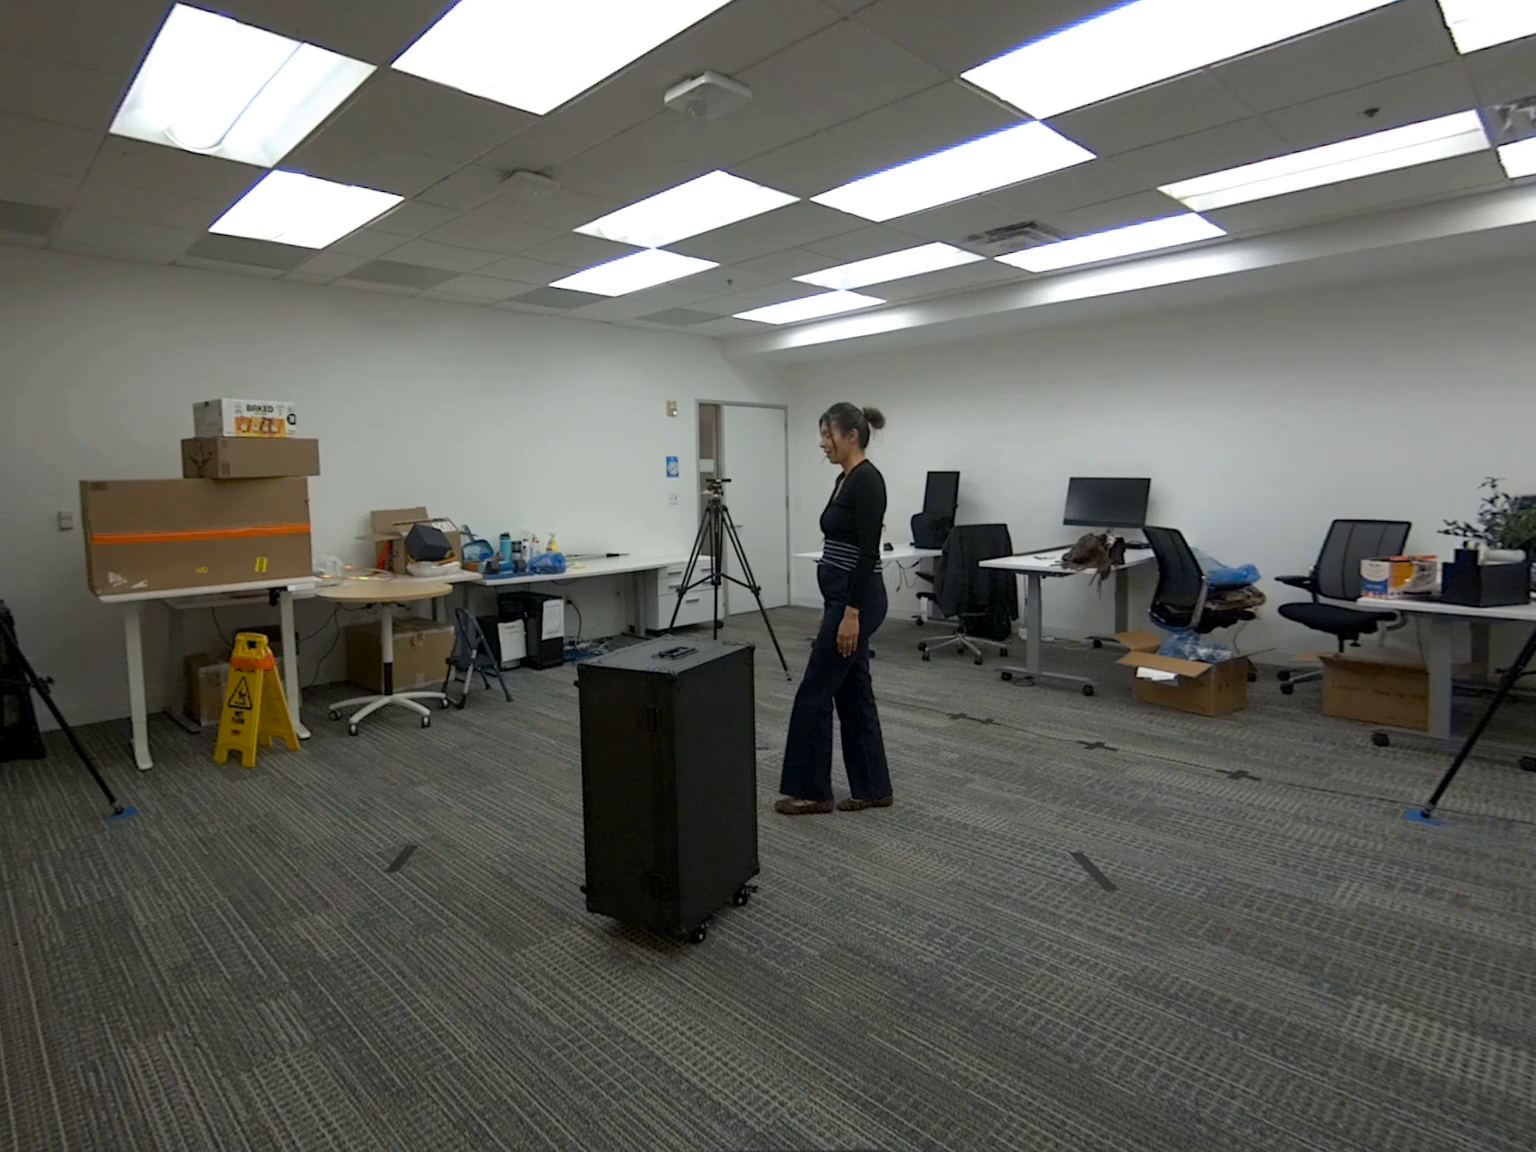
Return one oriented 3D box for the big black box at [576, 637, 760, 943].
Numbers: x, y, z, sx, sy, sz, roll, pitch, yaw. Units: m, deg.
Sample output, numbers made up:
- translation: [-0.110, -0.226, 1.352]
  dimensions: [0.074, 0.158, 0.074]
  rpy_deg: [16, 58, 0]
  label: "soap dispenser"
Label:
- translation: [-0.312, 0.668, 2.736]
  dimensions: [0.406, 0.859, 0.510]
  rpy_deg: [0, 4, 30]
  label: "big black box"
